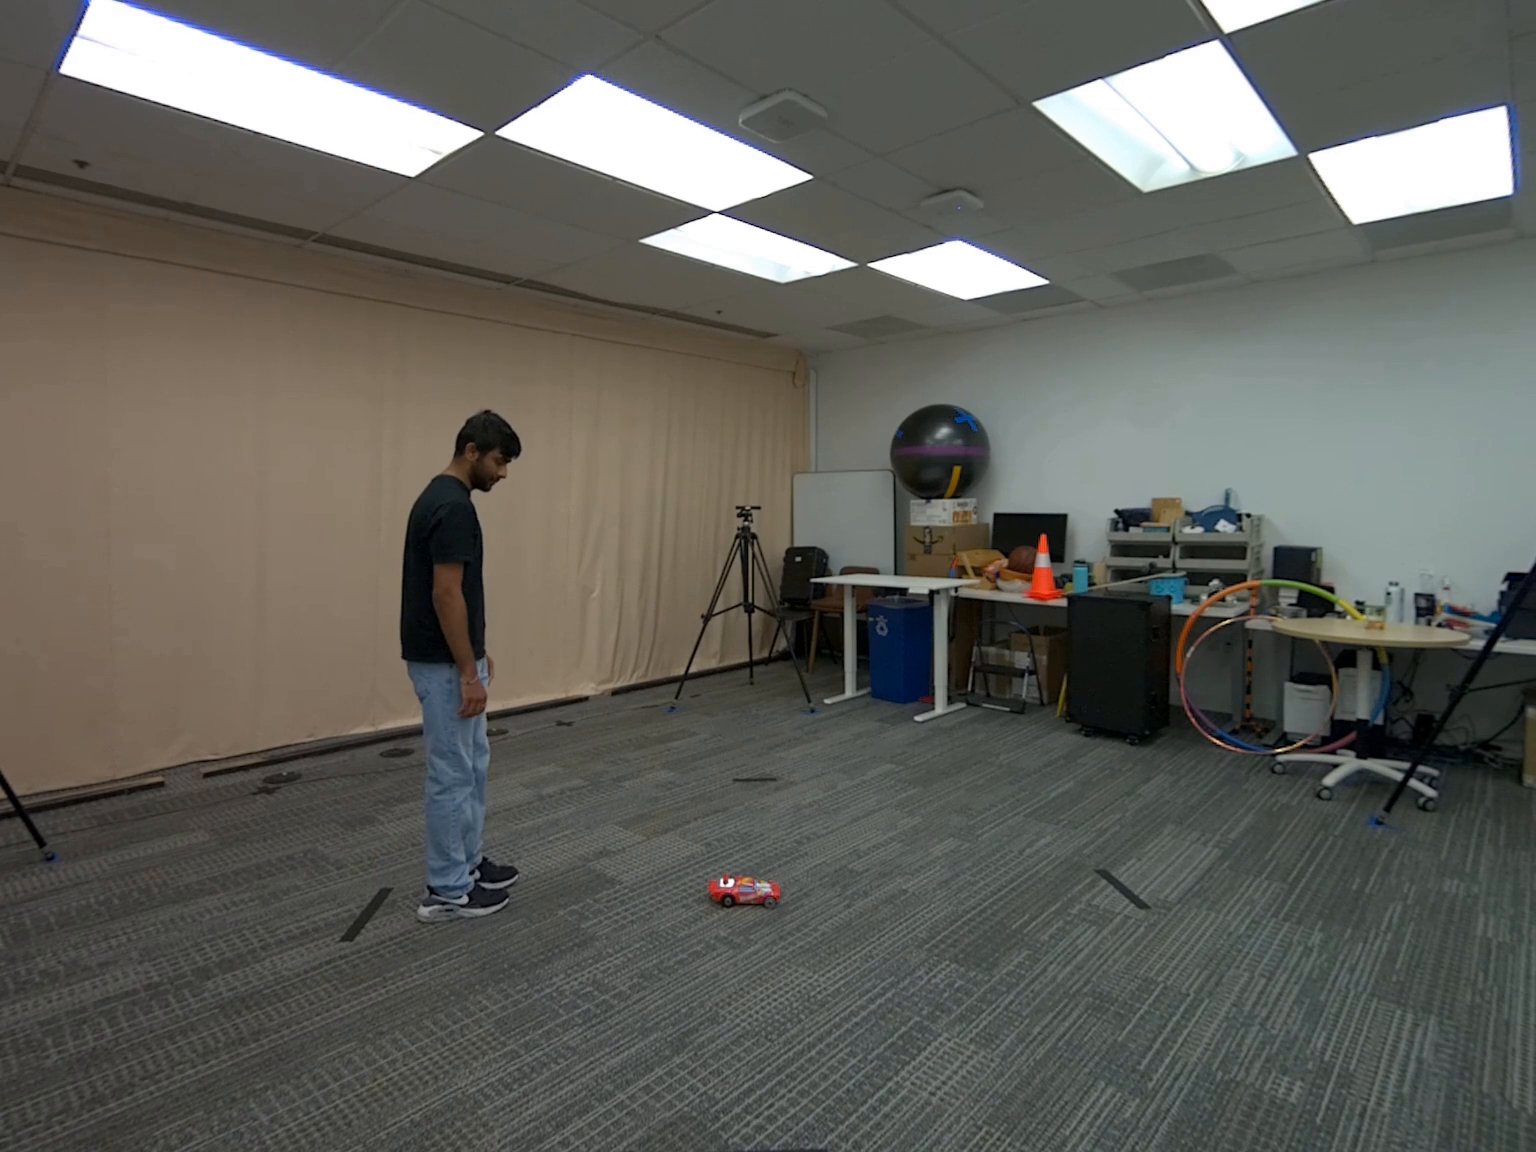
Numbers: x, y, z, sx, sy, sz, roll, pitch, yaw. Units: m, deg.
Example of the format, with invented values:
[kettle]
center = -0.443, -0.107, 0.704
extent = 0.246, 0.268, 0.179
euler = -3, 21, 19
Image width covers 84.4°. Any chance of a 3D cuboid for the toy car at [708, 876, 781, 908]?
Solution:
[toy car]
center = -0.088, 1.113, 2.968
extent = 0.255, 0.083, 0.130
euler = 11, 4, 1
